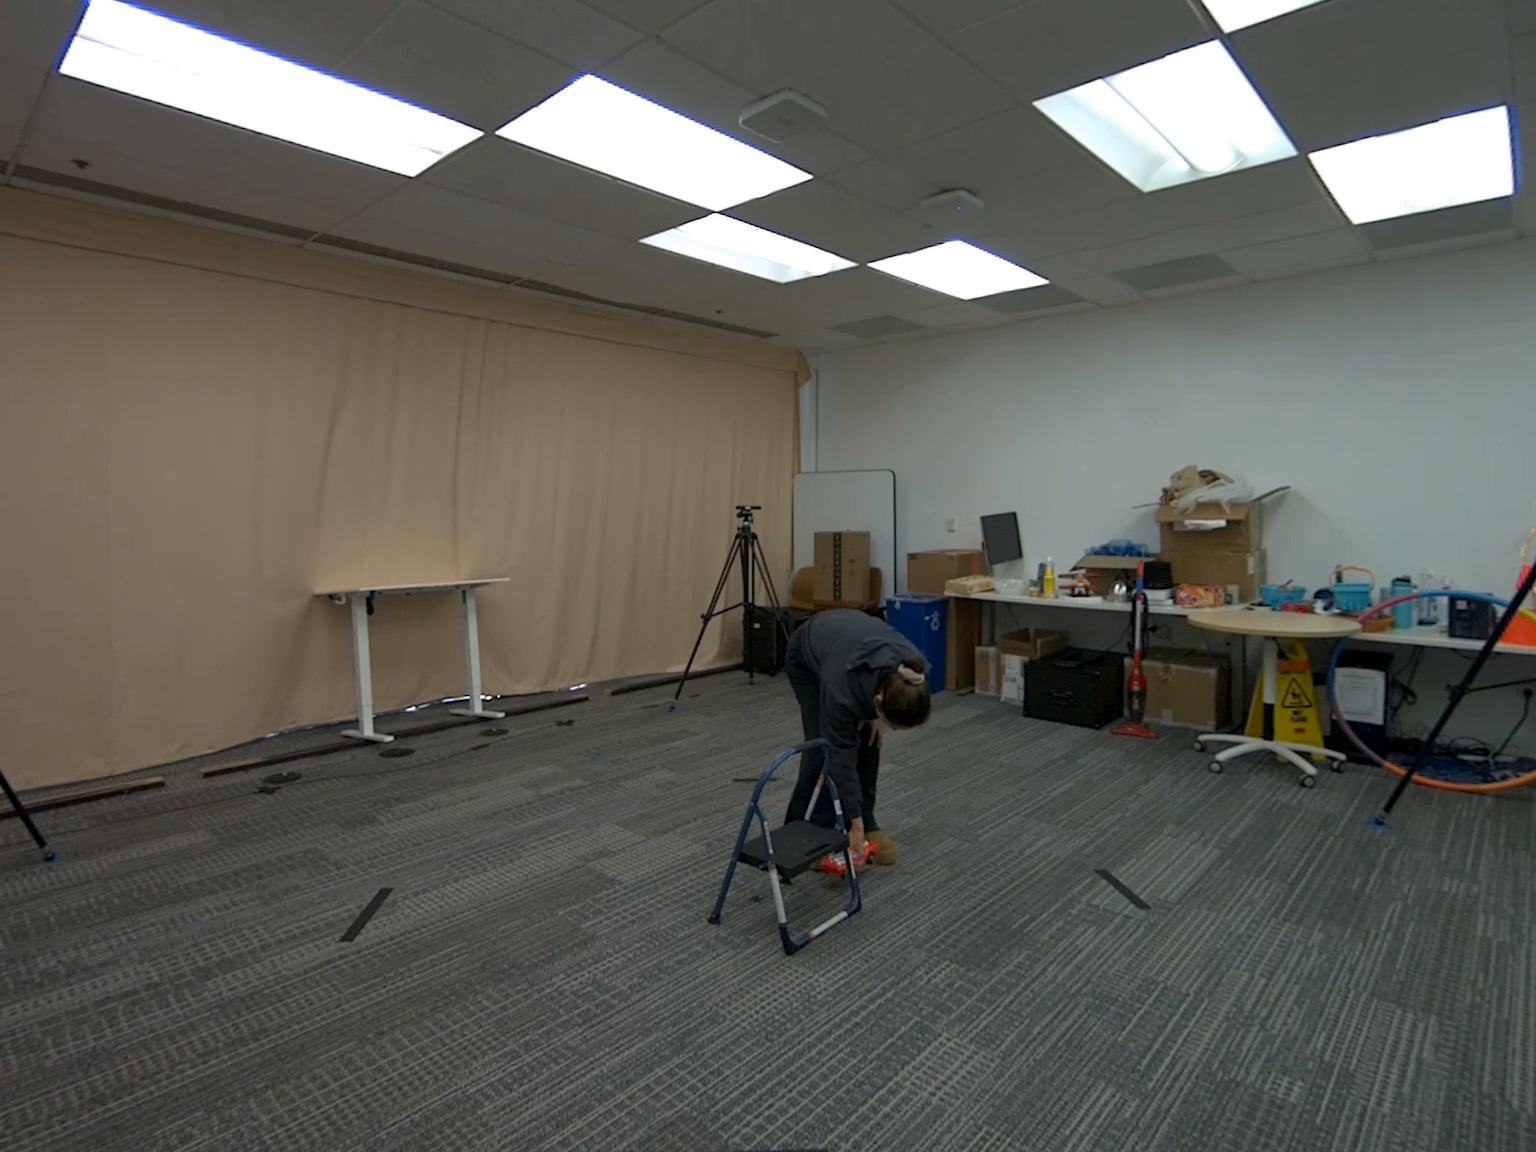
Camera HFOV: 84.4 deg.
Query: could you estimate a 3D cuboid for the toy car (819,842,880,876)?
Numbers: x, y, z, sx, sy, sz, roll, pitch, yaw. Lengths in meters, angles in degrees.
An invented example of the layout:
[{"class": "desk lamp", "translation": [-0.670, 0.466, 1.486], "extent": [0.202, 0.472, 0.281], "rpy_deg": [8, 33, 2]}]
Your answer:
[{"class": "toy car", "translation": [0.335, 1.031, 3.125], "extent": [0.134, 0.082, 0.249], "rpy_deg": [-1, 17, 46]}]
